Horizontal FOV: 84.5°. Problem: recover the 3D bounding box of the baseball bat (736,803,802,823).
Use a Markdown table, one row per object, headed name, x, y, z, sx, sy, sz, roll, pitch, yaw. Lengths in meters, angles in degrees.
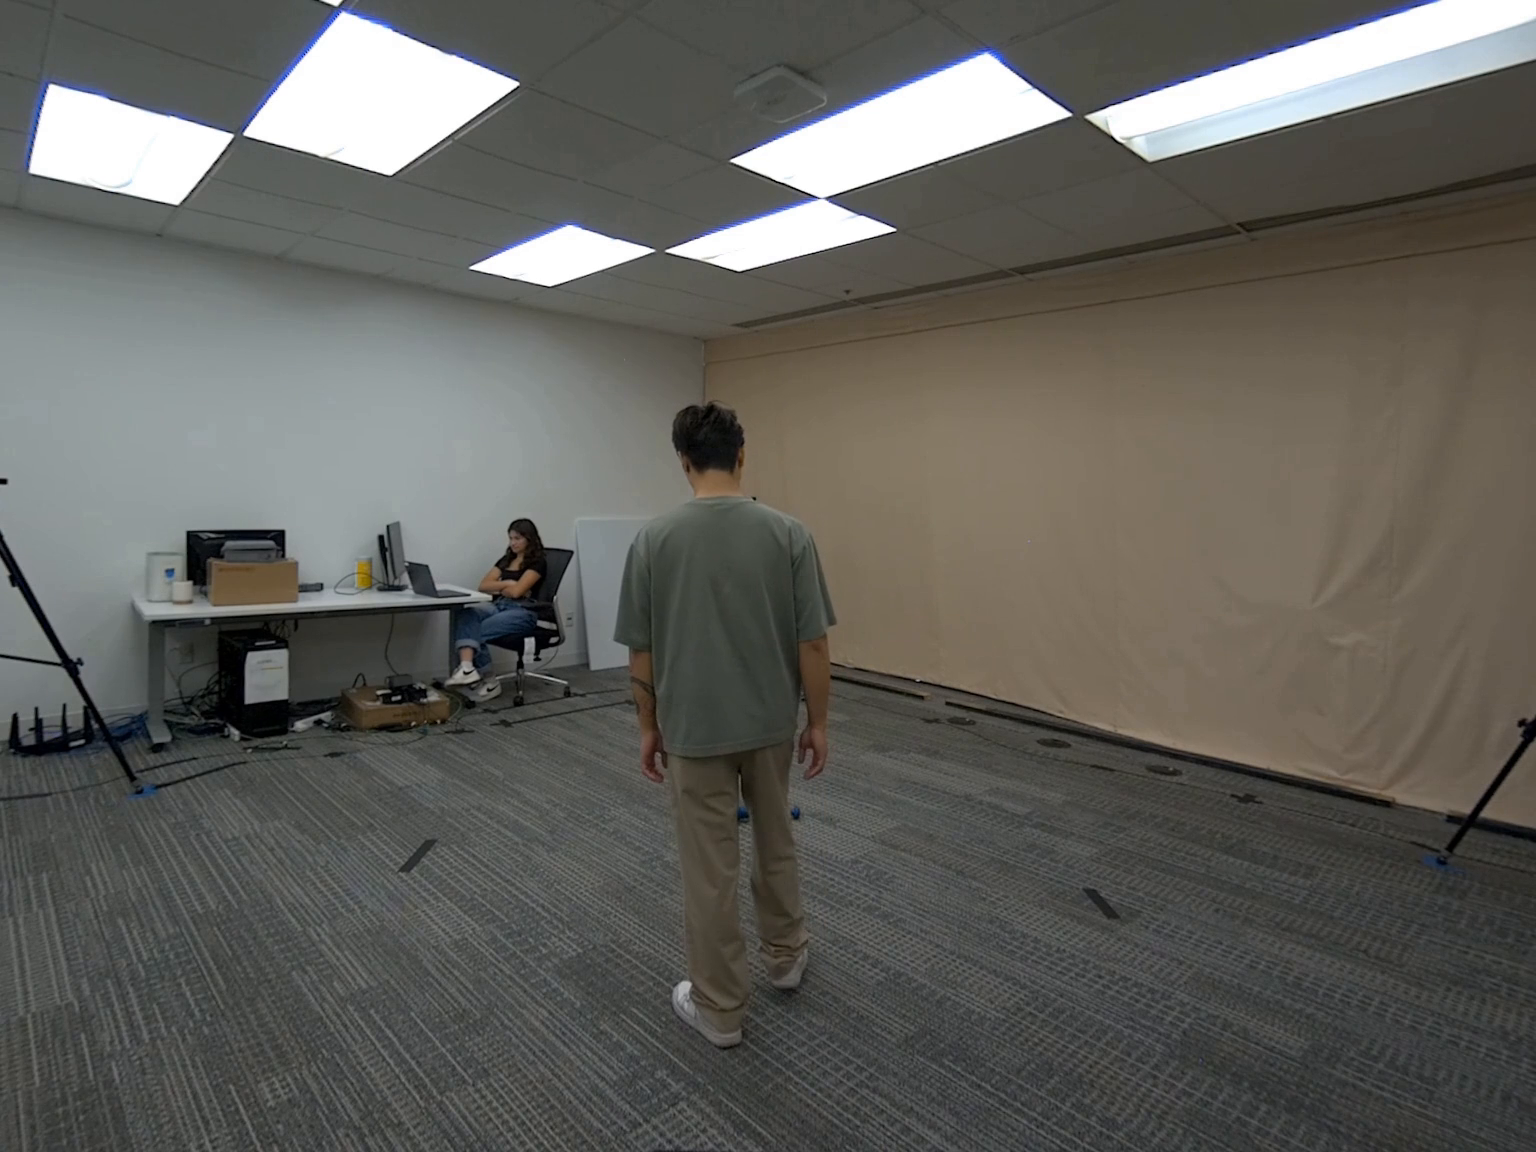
| name | x | y | z | sx | sy | sz | roll | pitch | yaw |
| --- | --- | --- | --- | --- | --- | --- | --- | --- | --- |
| baseball bat | -0.131 | 1.028 | 3.634 | 0.537 | 0.089 | 0.090 | 2 | 4 | -13 |
